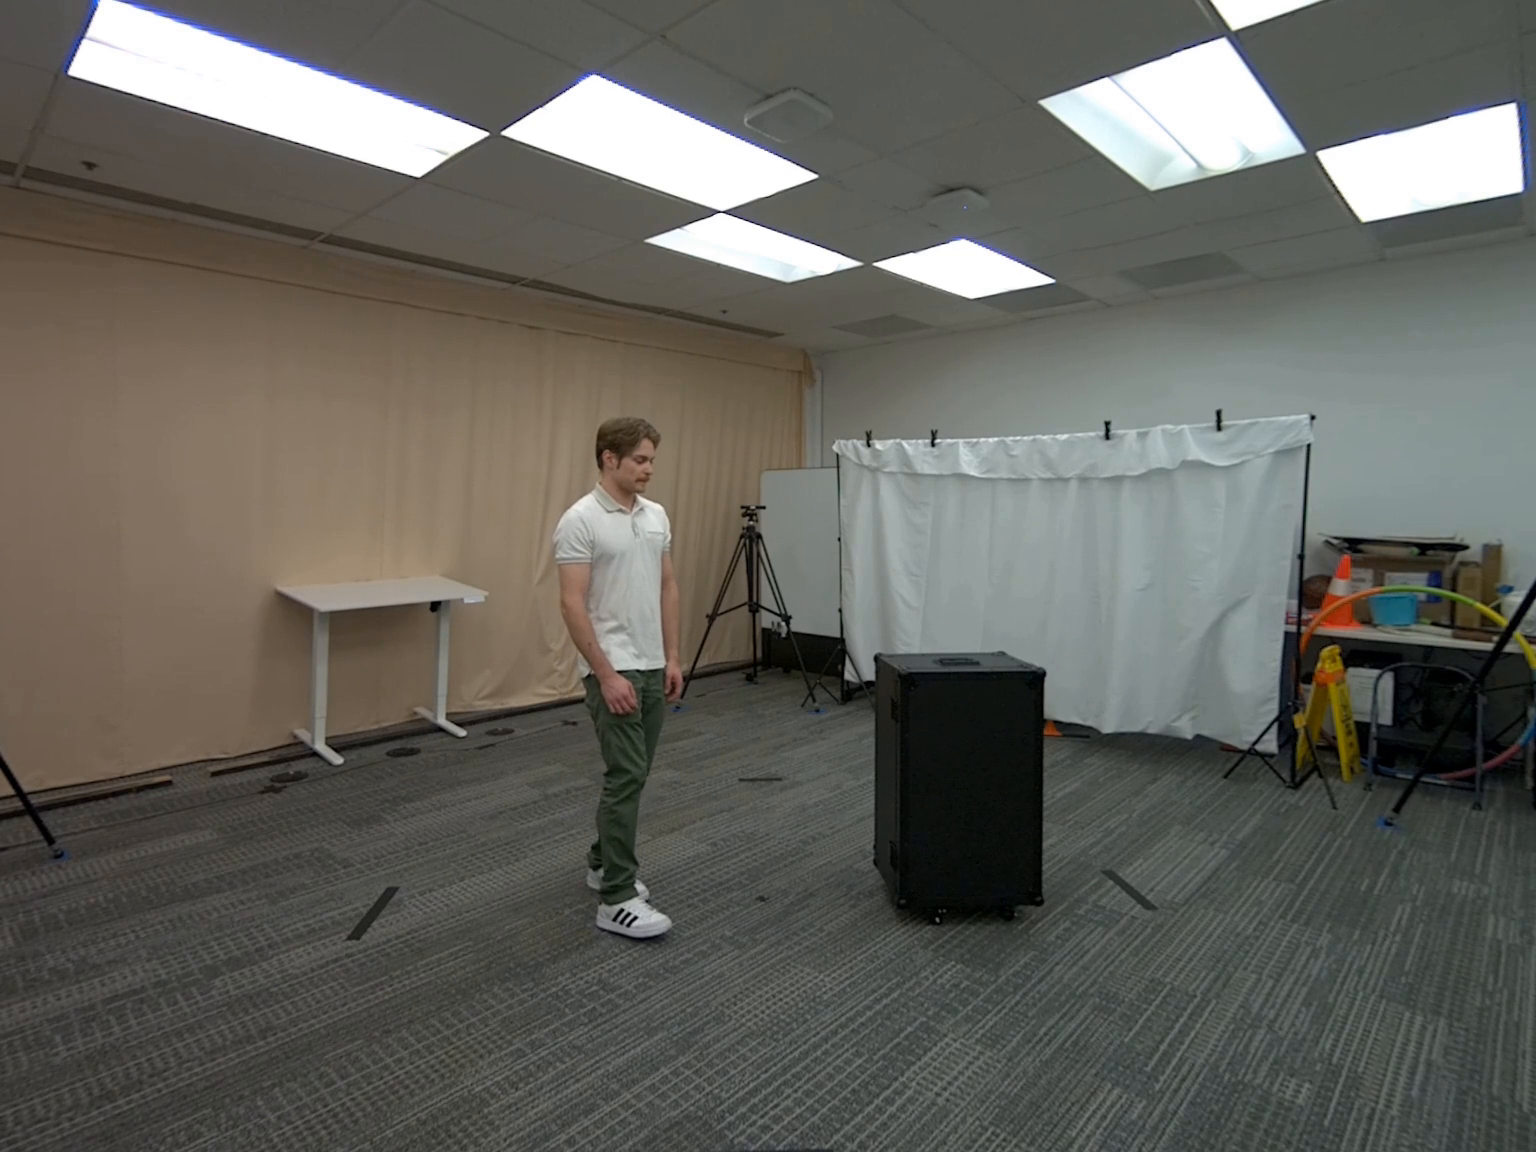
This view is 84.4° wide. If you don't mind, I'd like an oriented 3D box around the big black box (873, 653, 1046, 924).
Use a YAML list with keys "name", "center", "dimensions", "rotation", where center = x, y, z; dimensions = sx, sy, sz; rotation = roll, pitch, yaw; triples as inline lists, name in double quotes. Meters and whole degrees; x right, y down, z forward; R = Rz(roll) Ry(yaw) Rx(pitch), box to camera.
- name: "big black box"
  center: [0.649, 0.723, 2.924]
  dimensions: [0.521, 0.867, 0.387]
  rotation: [0, 3, -4]
